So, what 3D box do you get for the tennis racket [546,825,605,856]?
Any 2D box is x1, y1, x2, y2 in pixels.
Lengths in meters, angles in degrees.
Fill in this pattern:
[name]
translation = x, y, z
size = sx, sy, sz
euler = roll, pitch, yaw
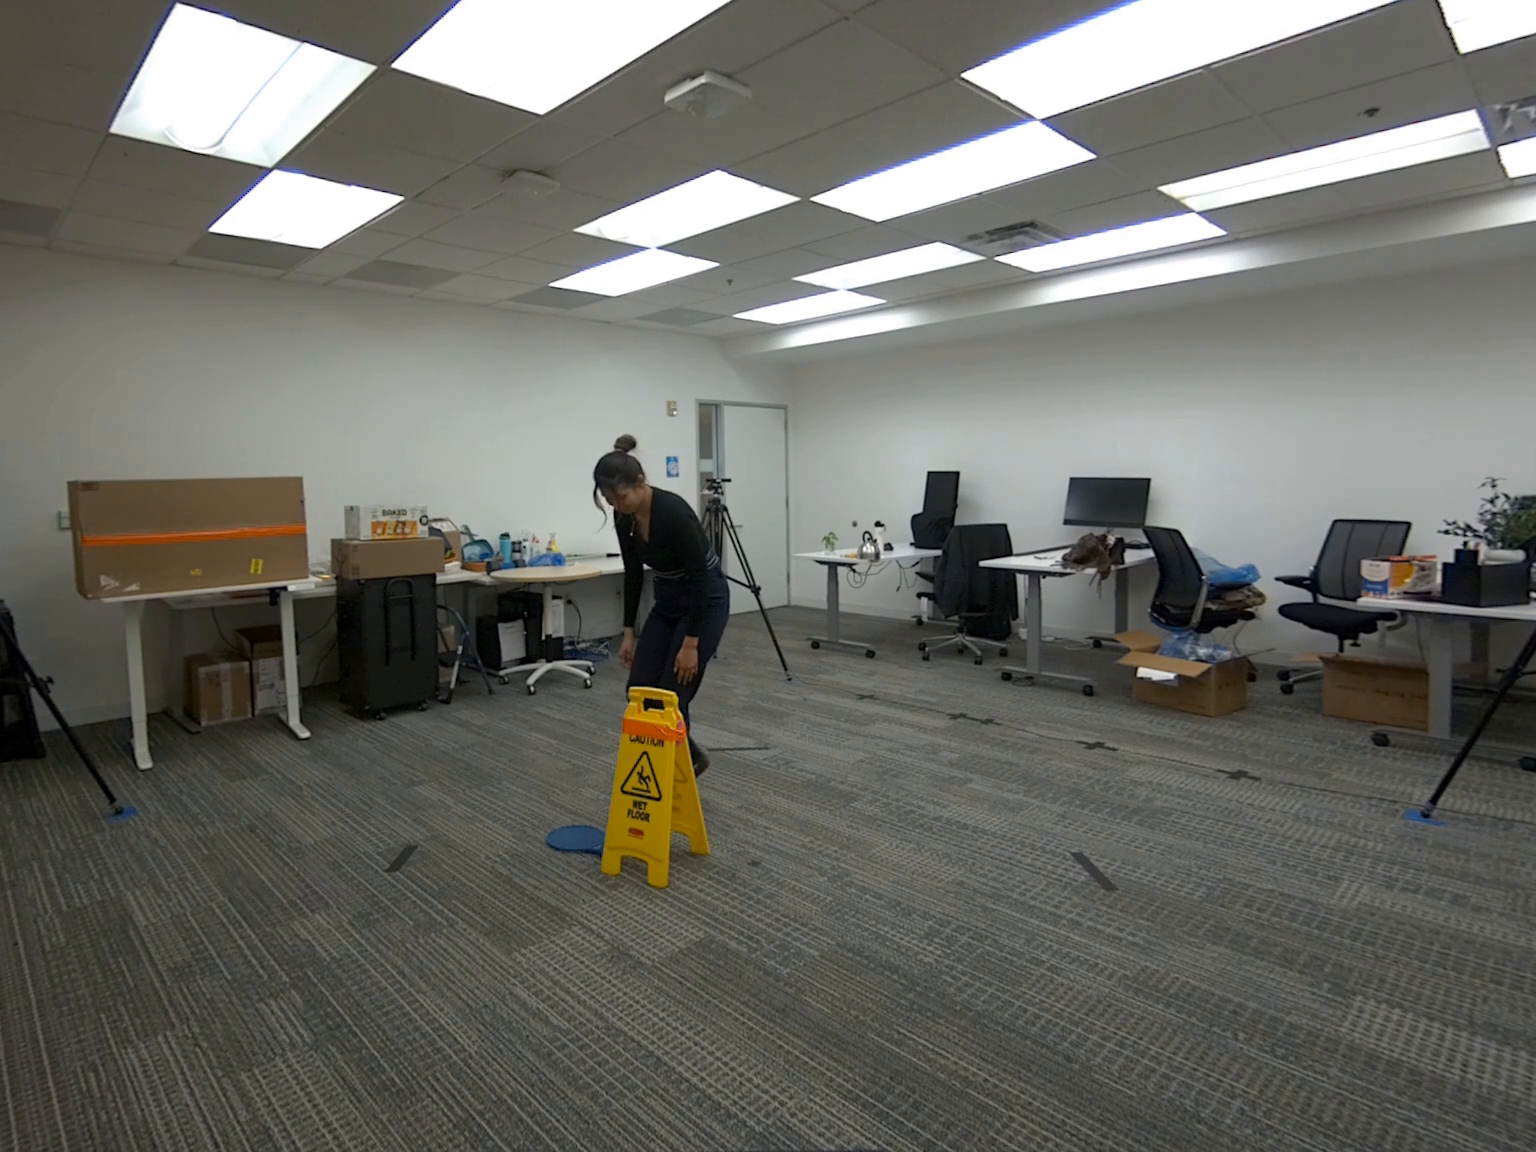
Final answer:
[tennis racket]
translation = -0.690, 1.027, 3.269
size = 0.208, 0.031, 0.446
euler = -6, 7, -40
